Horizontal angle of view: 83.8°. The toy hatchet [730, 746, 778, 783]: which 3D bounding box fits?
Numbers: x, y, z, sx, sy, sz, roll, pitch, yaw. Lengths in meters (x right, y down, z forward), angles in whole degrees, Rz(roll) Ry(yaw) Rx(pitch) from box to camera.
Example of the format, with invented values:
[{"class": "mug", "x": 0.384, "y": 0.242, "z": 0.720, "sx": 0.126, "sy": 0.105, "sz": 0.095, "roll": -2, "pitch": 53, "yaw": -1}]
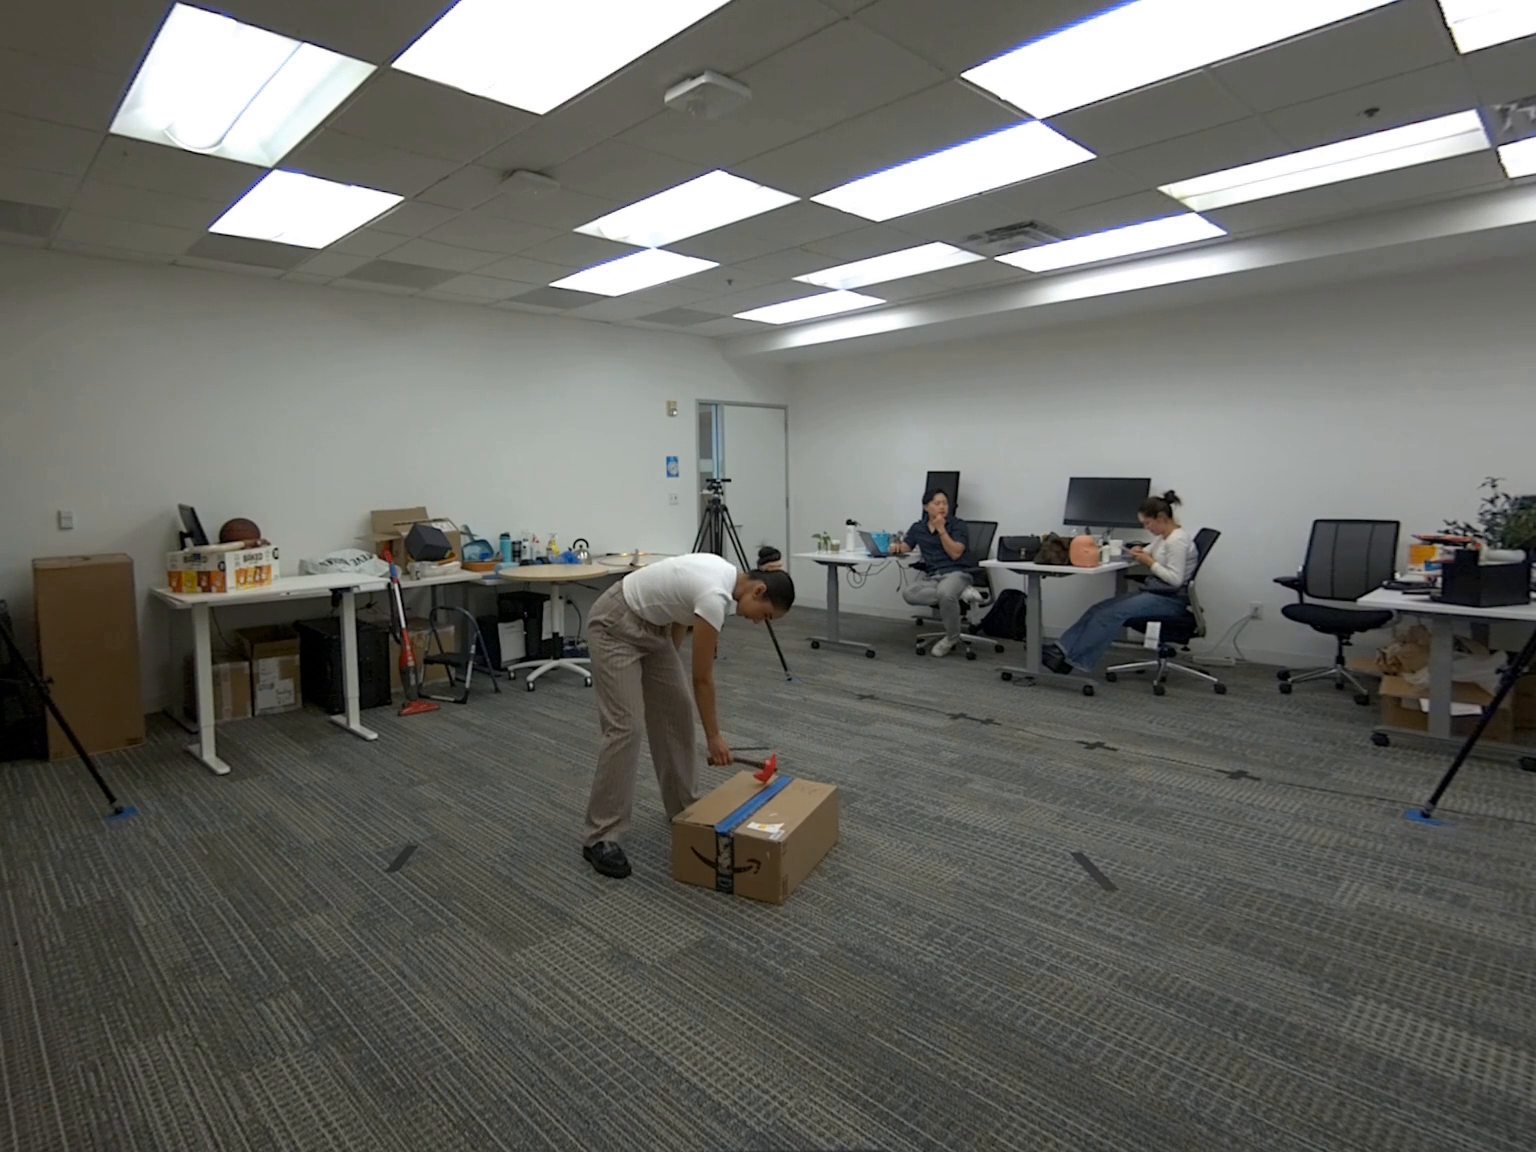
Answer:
[{"class": "toy hatchet", "x": -0.104, "y": 0.741, "z": 3.297, "sx": 0.271, "sy": 0.129, "sz": 0.030, "roll": -2, "pitch": 17, "yaw": 3}]
